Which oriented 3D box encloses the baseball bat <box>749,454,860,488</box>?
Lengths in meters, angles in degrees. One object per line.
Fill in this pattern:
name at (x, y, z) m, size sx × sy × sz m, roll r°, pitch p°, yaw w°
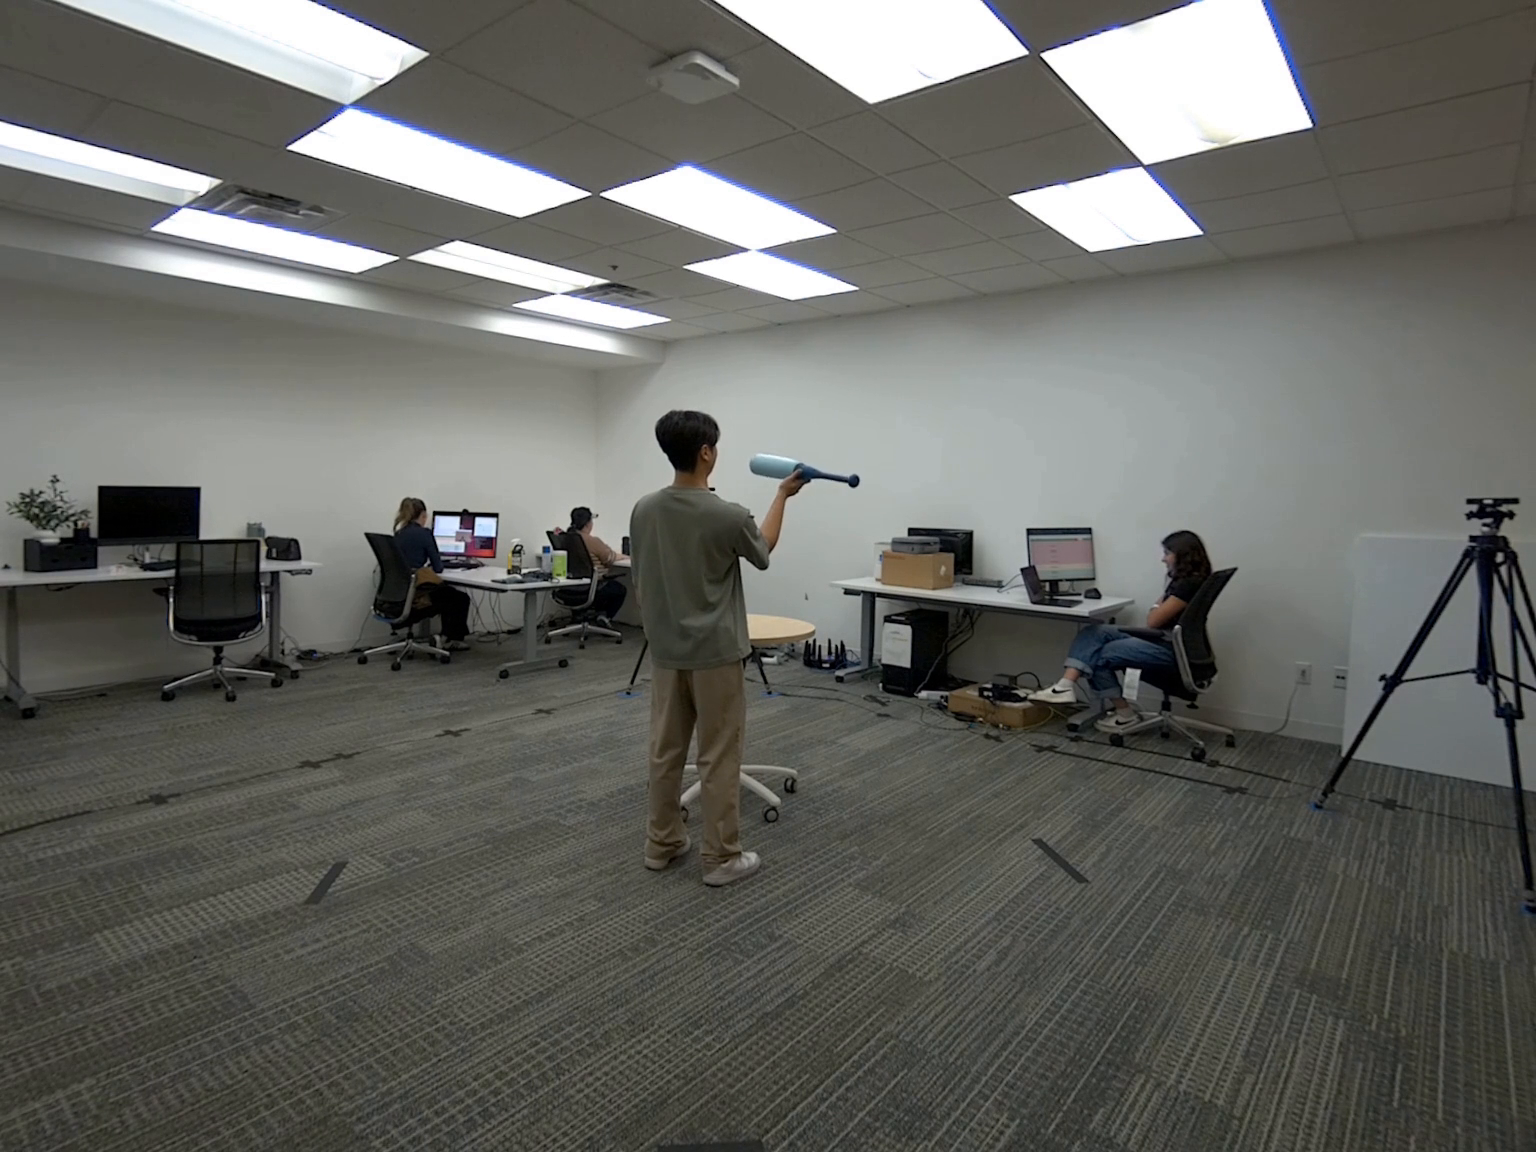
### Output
baseball bat at (0.119, -0.397, 3.270) m, size 0.086 × 0.088 × 0.564 m, roll -3°, pitch 14°, yaw -41°
